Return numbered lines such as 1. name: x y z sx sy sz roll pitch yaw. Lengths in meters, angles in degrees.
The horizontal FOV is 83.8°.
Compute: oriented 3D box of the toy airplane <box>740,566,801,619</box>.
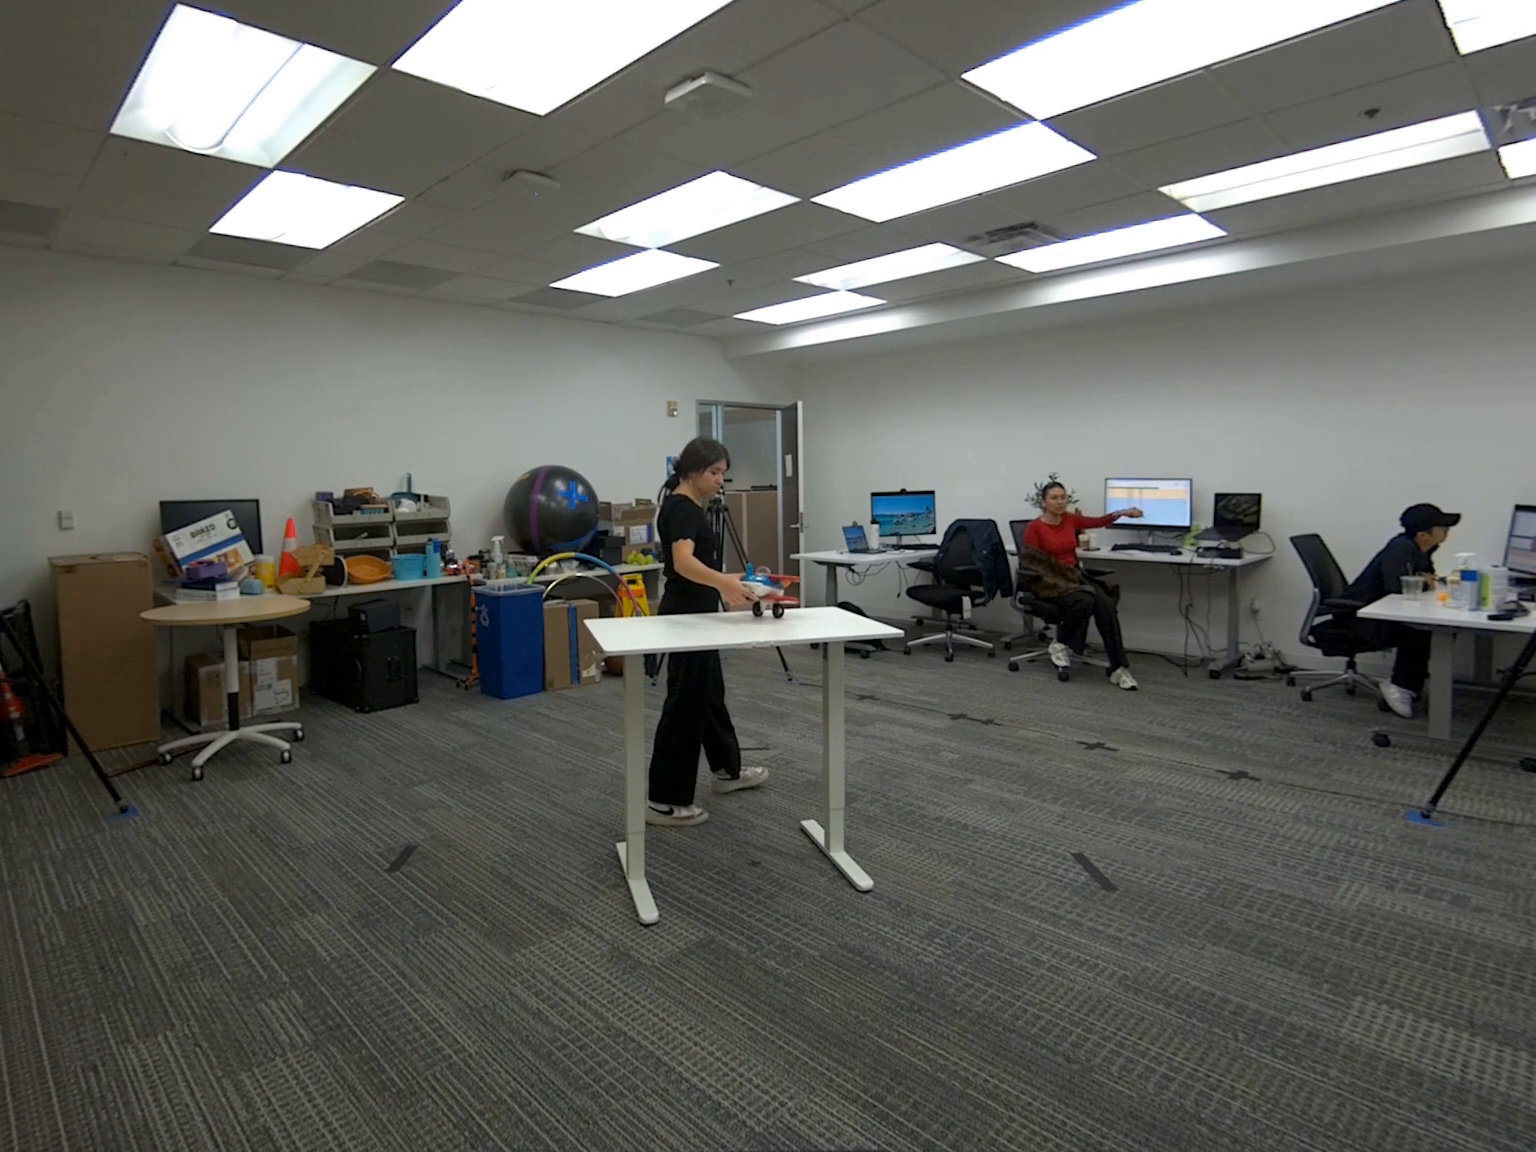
1. toy airplane: -0.006 0.052 3.133 0.253 0.158 0.254 12 -19 5
